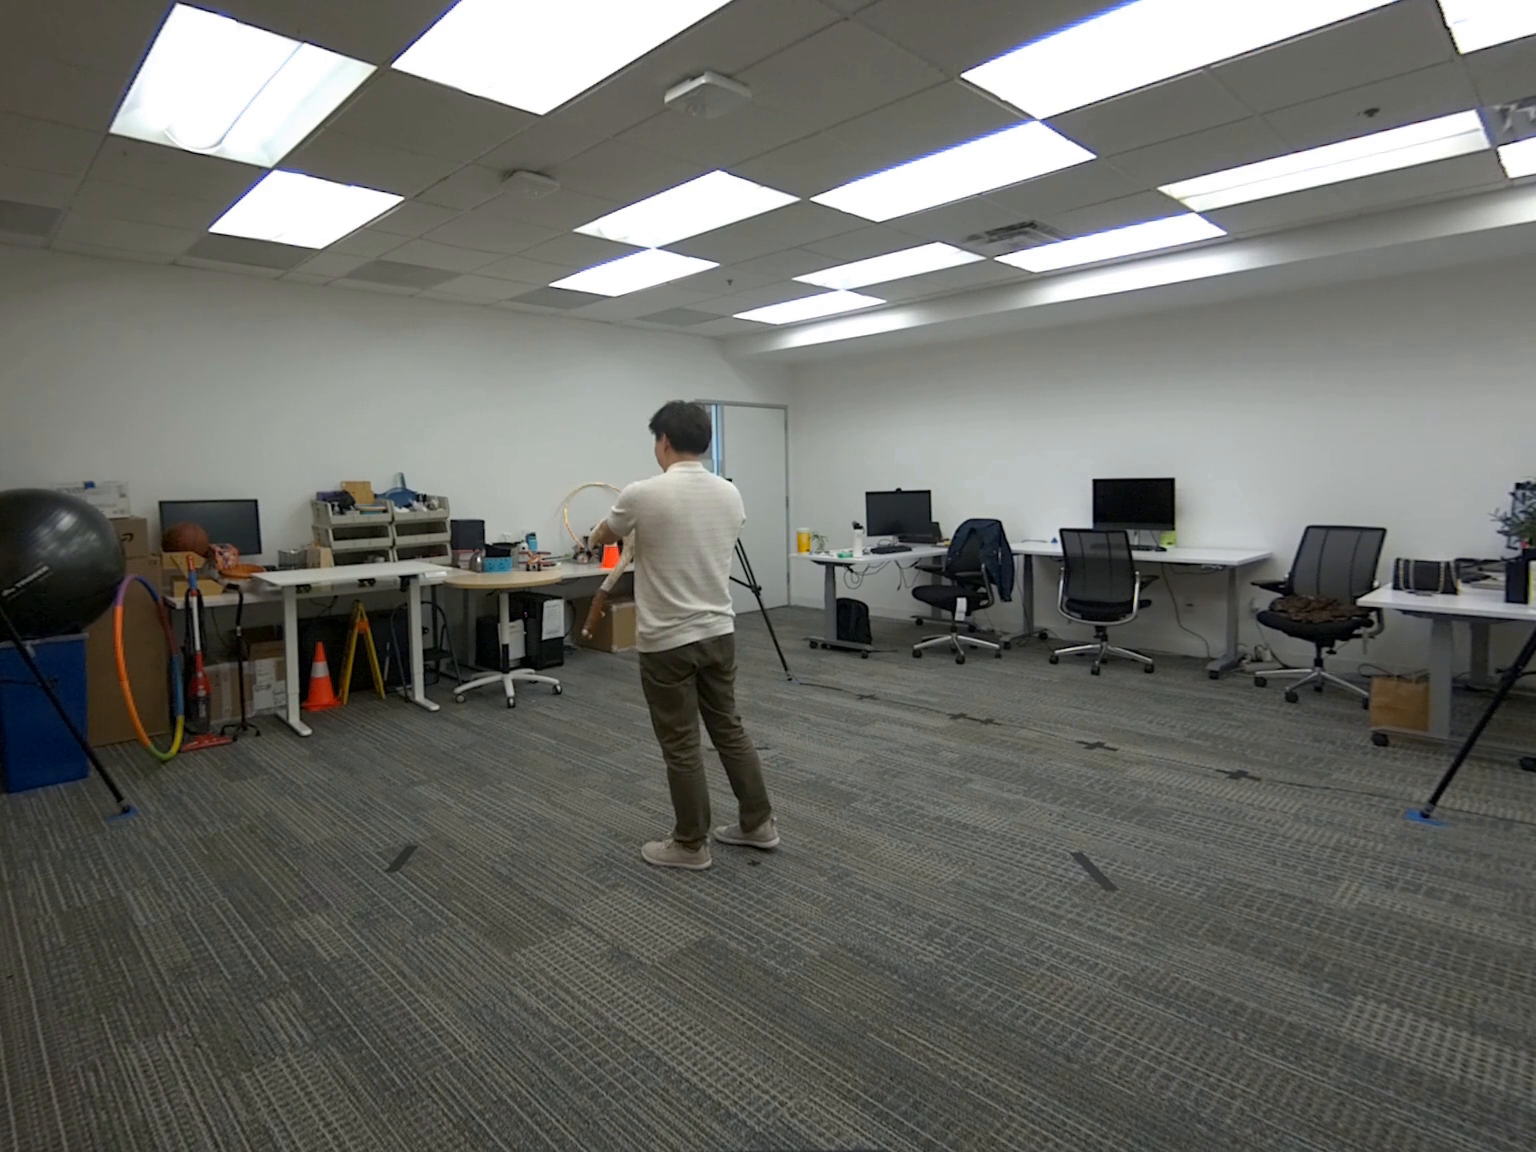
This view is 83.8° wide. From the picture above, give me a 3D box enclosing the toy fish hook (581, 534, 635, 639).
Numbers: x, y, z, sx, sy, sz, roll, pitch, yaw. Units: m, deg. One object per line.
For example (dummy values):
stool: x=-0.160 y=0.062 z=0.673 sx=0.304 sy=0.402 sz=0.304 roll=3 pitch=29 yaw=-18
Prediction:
toy fish hook: x=-0.653 y=-0.011 z=3.348 sx=0.216 sy=0.511 sz=0.050 roll=31 pitch=-19 yaw=-37
